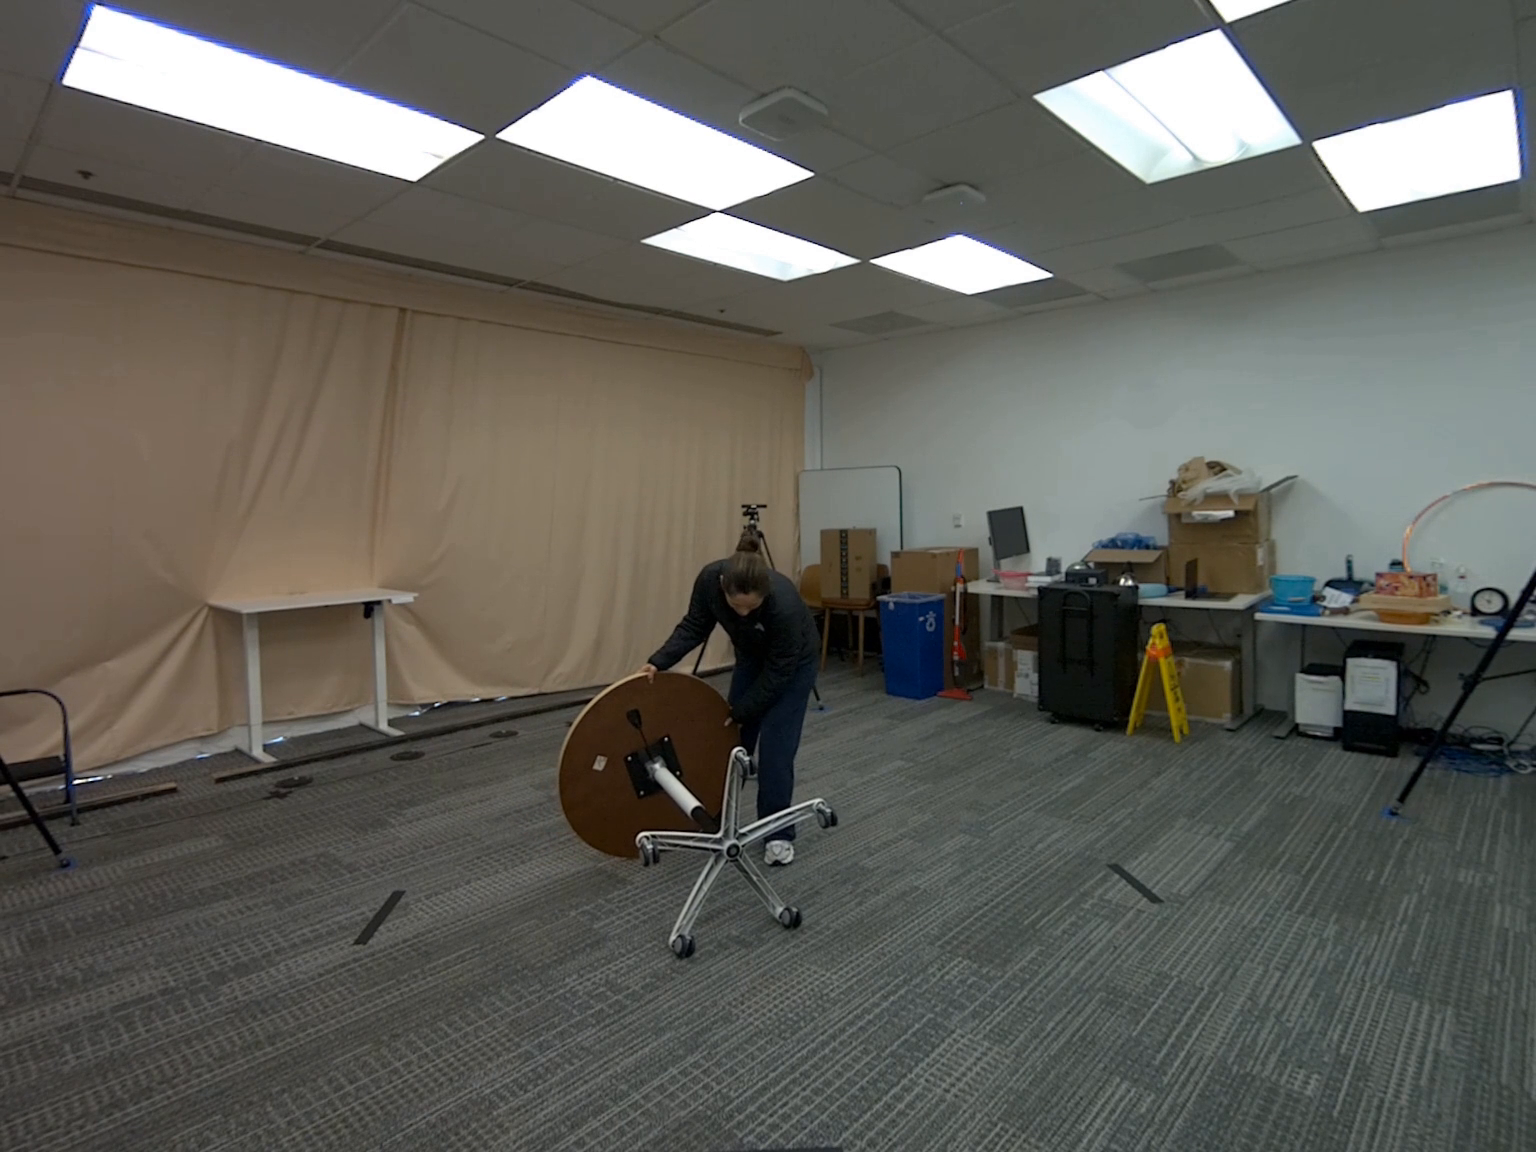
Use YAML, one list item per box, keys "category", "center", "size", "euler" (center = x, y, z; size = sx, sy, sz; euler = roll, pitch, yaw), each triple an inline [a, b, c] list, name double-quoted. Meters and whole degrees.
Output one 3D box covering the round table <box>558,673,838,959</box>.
- category: "round table"
  center: [-0.256, 0.808, 2.966]
  size: [0.765, 0.780, 0.812]
  euler: [-3, 12, -29]
